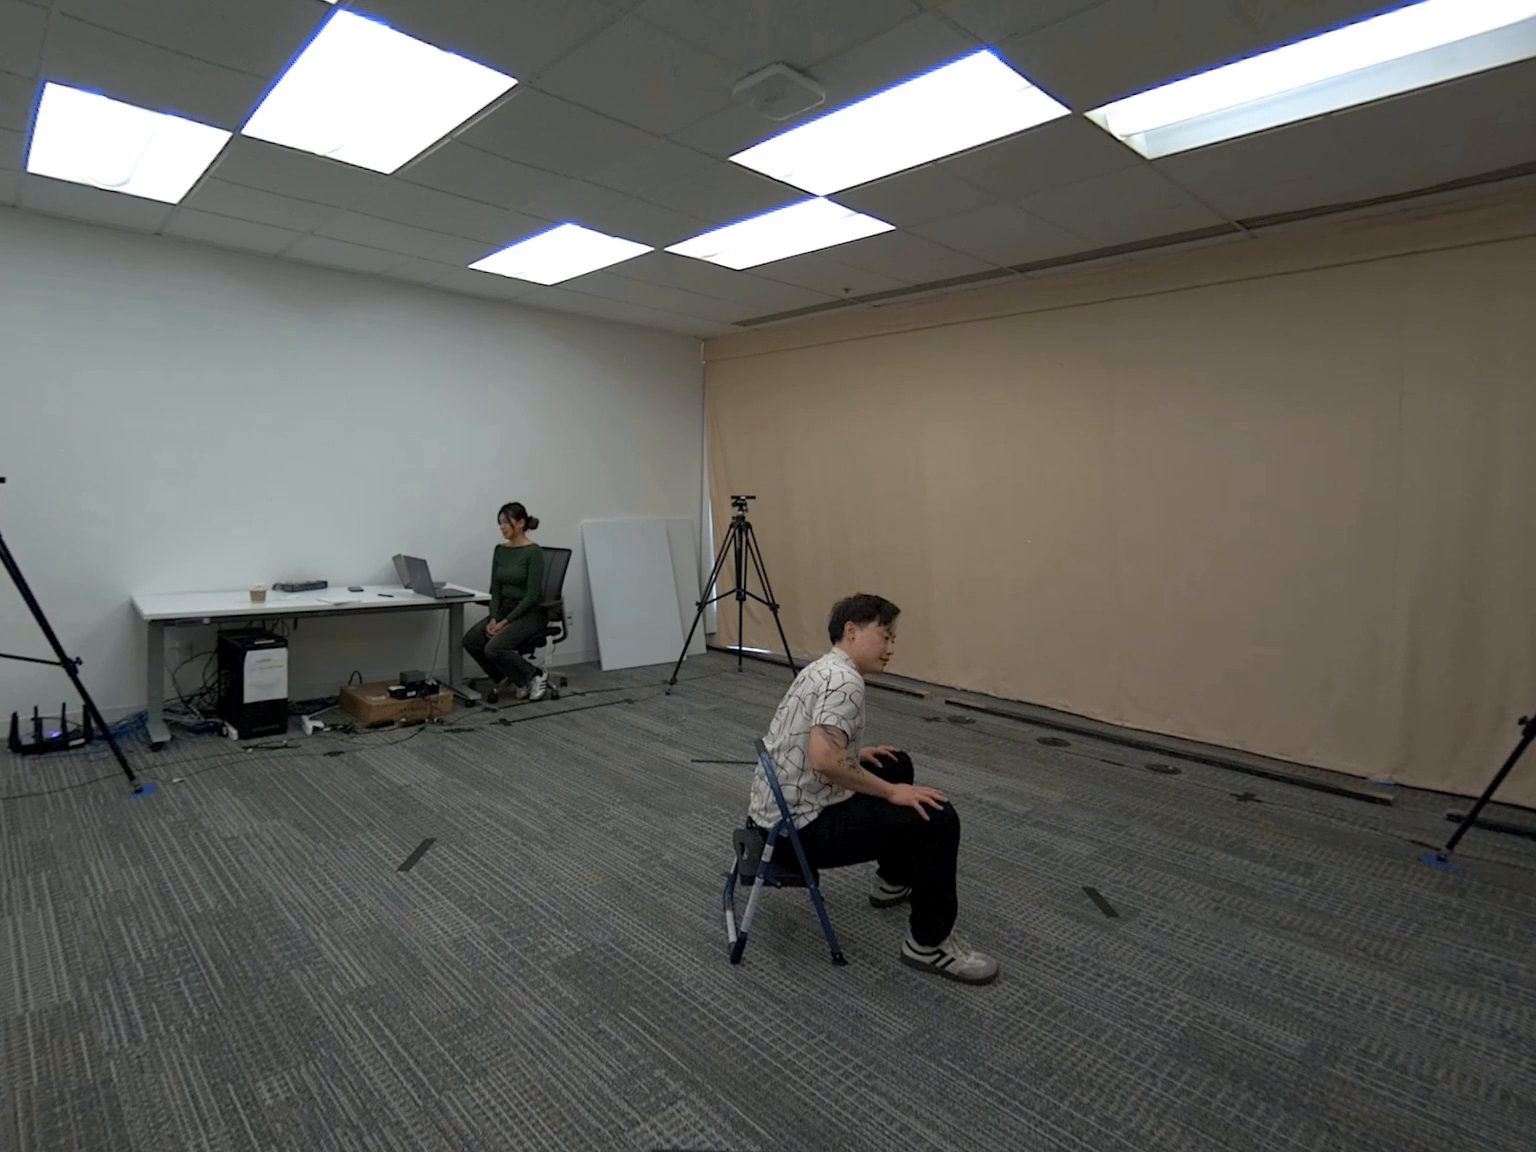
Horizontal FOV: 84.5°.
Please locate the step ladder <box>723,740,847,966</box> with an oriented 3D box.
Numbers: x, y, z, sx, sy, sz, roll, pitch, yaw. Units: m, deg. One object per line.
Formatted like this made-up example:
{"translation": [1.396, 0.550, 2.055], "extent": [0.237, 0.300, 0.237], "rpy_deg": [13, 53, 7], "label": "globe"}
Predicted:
{"translation": [0.040, 0.845, 2.700], "extent": [0.347, 0.604, 0.434], "rpy_deg": [1, 4, -7], "label": "step ladder"}
